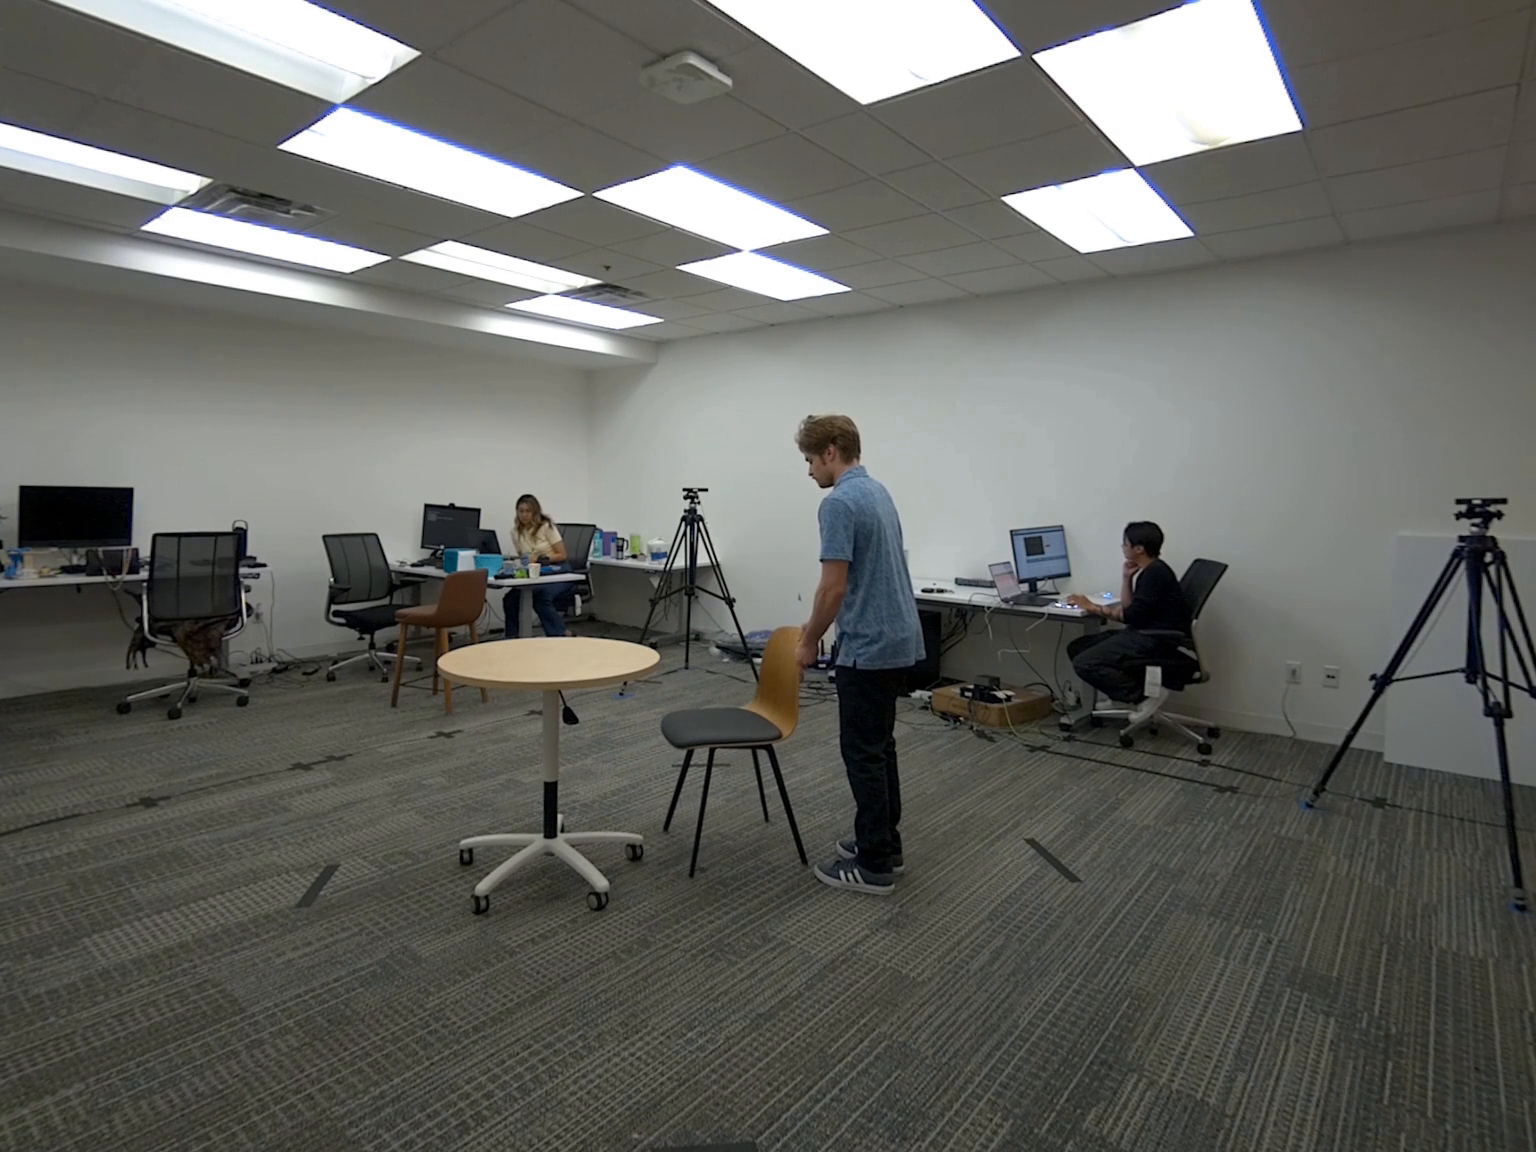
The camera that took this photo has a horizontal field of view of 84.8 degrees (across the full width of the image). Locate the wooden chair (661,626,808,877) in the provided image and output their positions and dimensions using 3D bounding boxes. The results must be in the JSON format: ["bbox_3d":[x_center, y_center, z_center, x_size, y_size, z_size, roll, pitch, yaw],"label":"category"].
[{"bbox_3d":[-0.149,0.630,3.282,0.513,0.875,0.489,4,3,-19],"label":"wooden chair"}]
